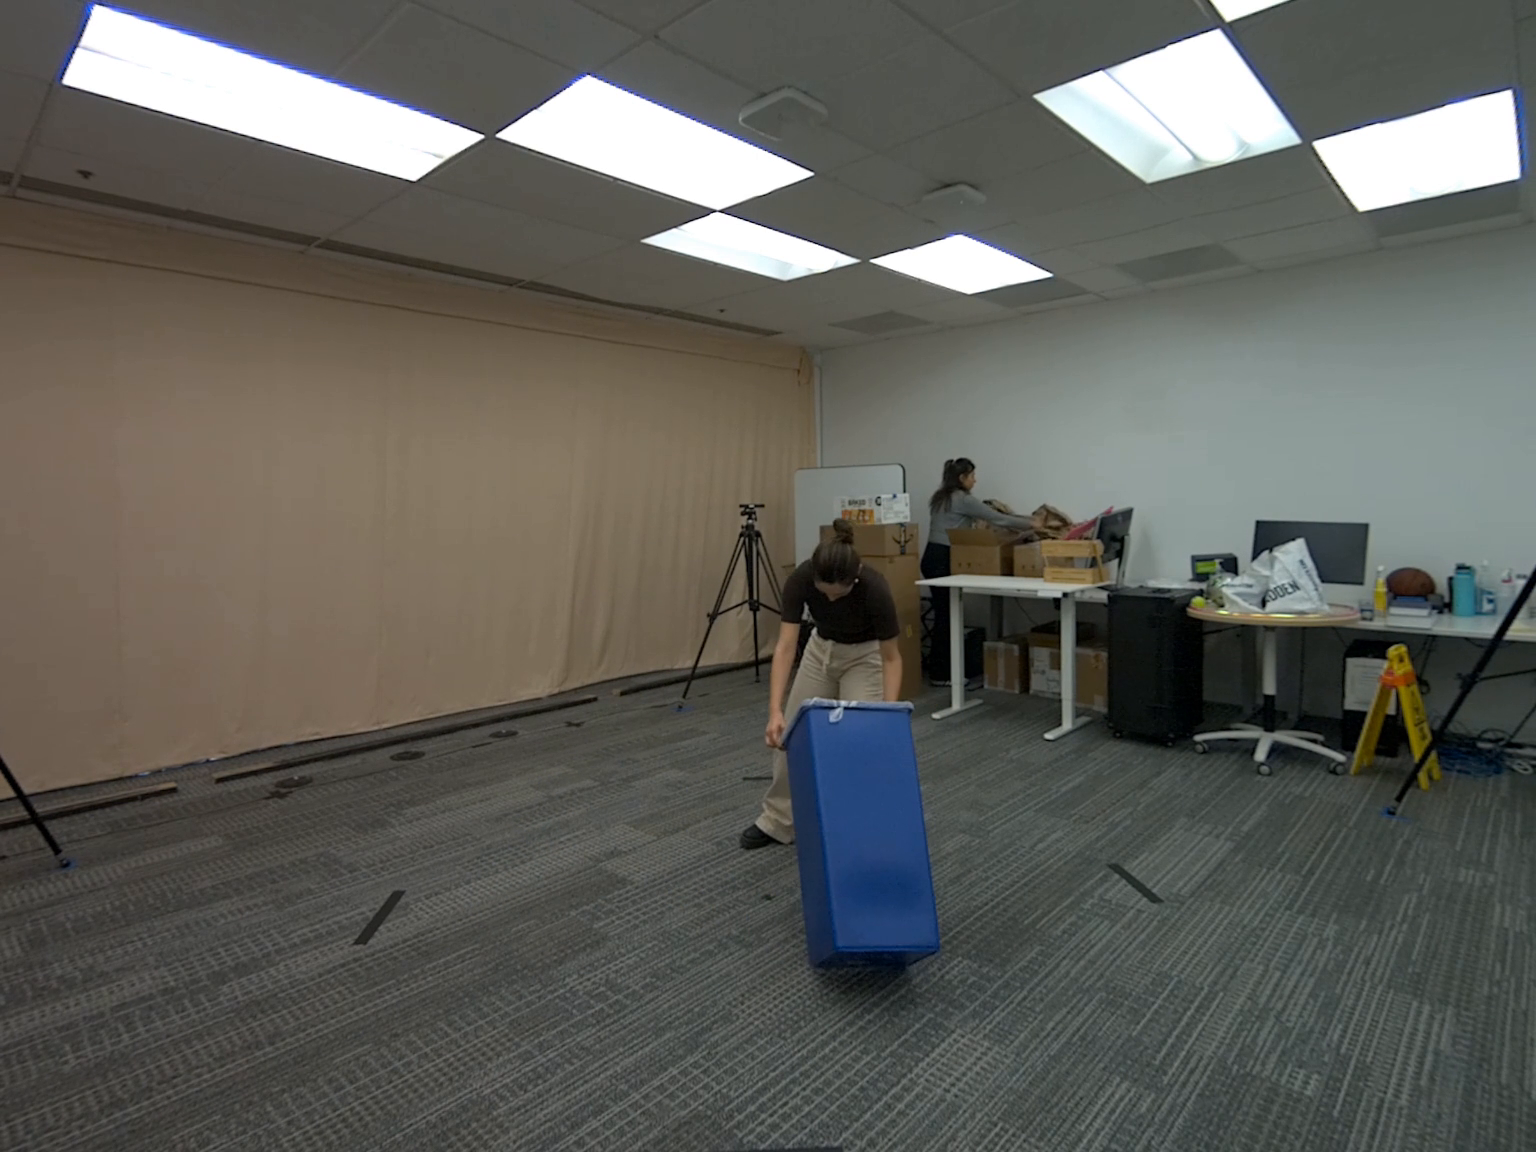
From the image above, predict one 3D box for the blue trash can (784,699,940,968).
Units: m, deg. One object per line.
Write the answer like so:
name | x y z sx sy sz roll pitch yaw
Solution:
blue trash can | 0.268 0.788 2.598 0.374 0.727 0.371 3 -34 -9
